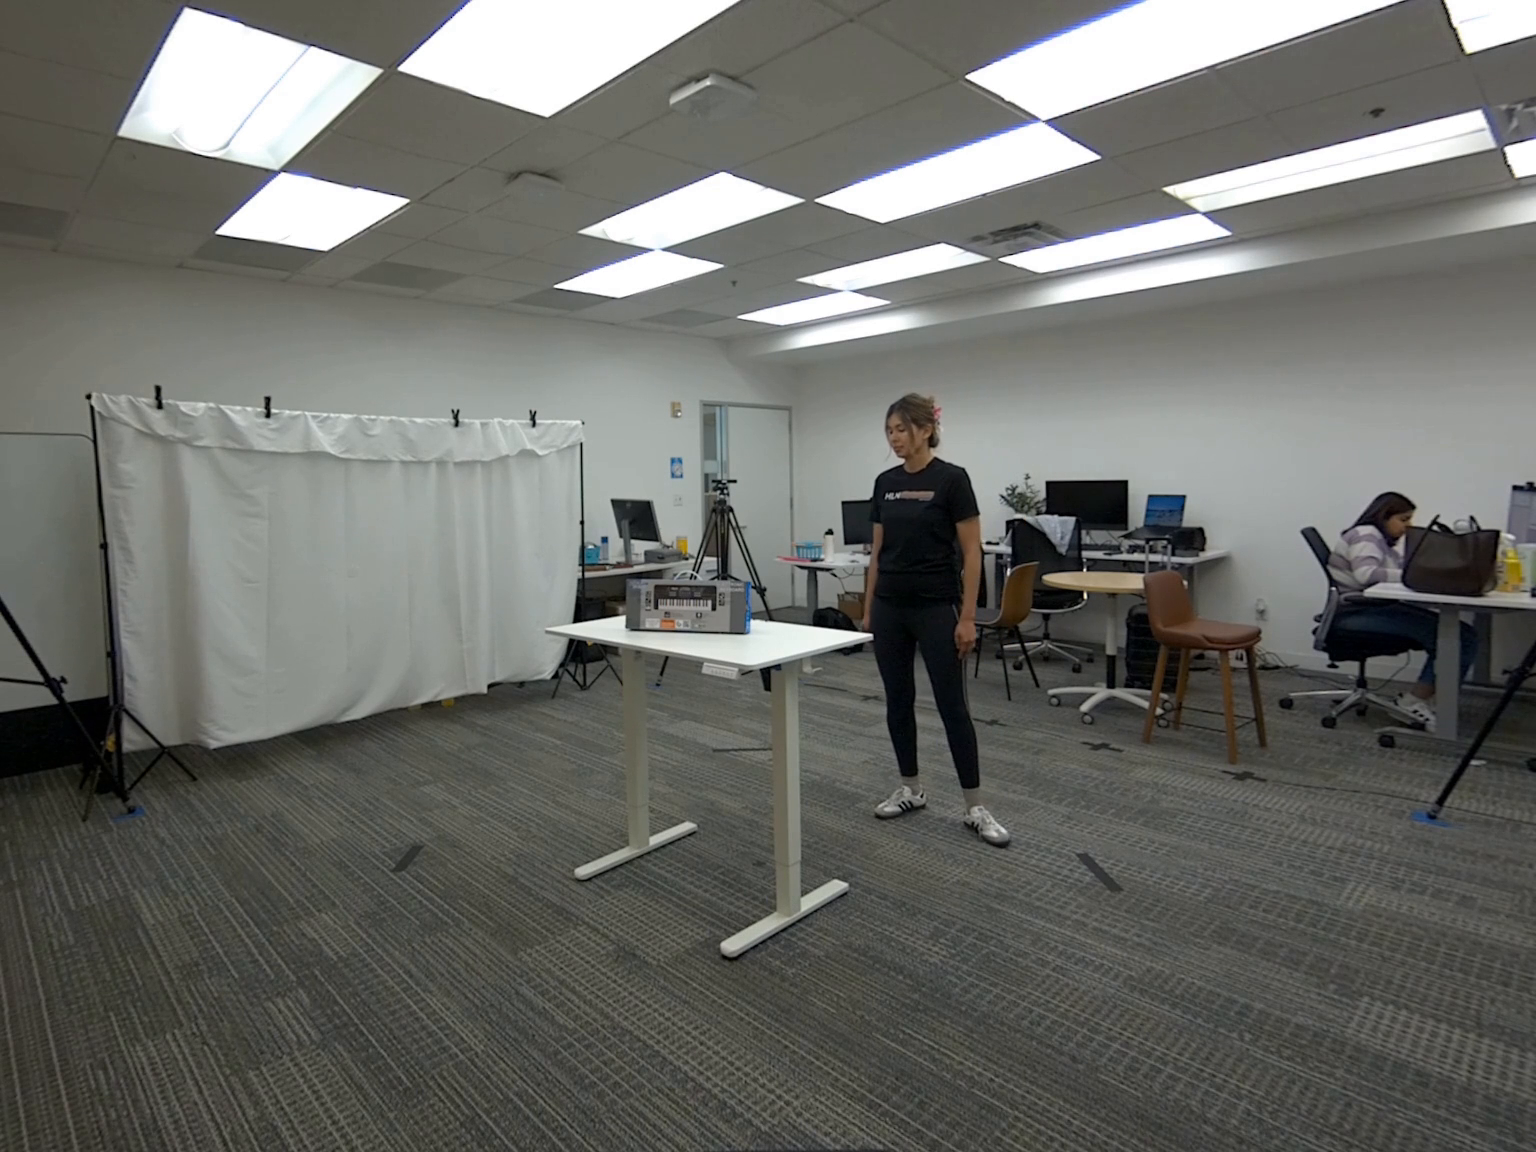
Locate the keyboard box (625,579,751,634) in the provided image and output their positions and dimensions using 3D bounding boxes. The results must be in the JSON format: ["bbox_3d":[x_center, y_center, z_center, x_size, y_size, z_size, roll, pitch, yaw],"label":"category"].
[{"bbox_3d":[-0.275,0.103,2.921,0.444,0.176,0.058,0,-4,18],"label":"keyboard box"}]
